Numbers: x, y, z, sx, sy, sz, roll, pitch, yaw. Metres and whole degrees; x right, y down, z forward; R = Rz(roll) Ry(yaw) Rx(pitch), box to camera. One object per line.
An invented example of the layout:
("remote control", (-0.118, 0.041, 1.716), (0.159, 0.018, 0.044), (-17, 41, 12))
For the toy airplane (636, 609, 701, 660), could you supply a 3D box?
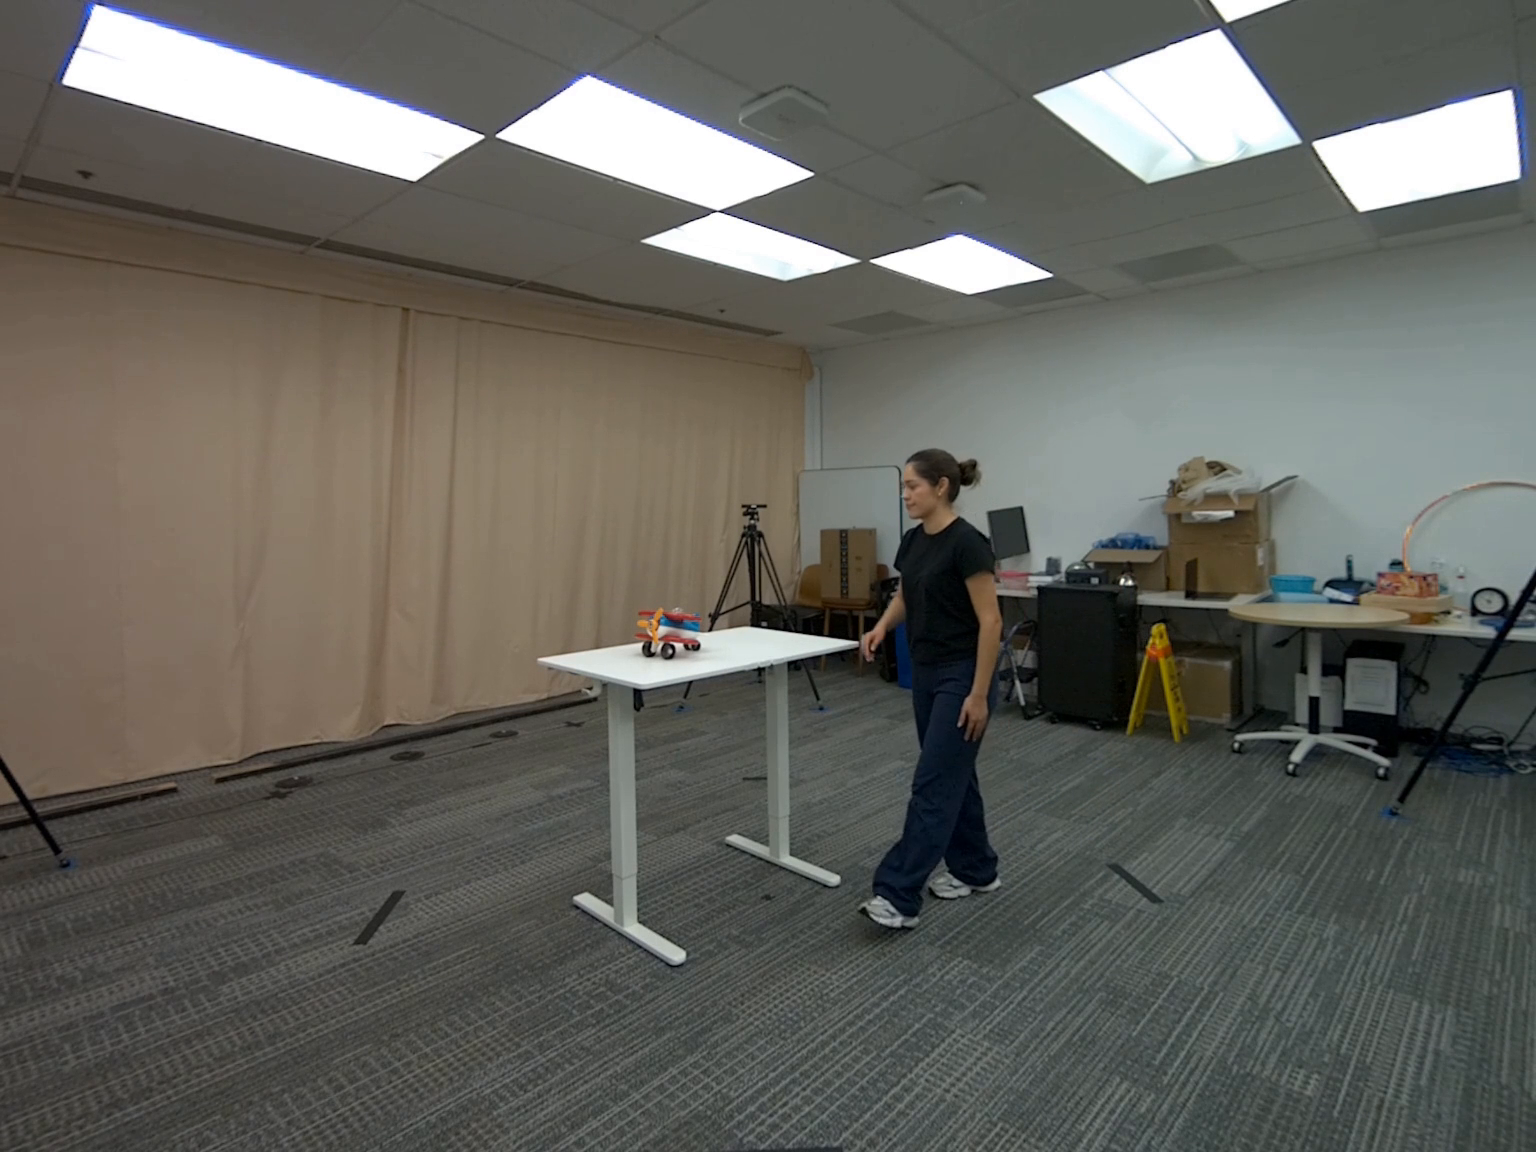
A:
("toy airplane", (-0.322, 0.196, 2.915), (0.253, 0.156, 0.257), (-1, 5, 8))
